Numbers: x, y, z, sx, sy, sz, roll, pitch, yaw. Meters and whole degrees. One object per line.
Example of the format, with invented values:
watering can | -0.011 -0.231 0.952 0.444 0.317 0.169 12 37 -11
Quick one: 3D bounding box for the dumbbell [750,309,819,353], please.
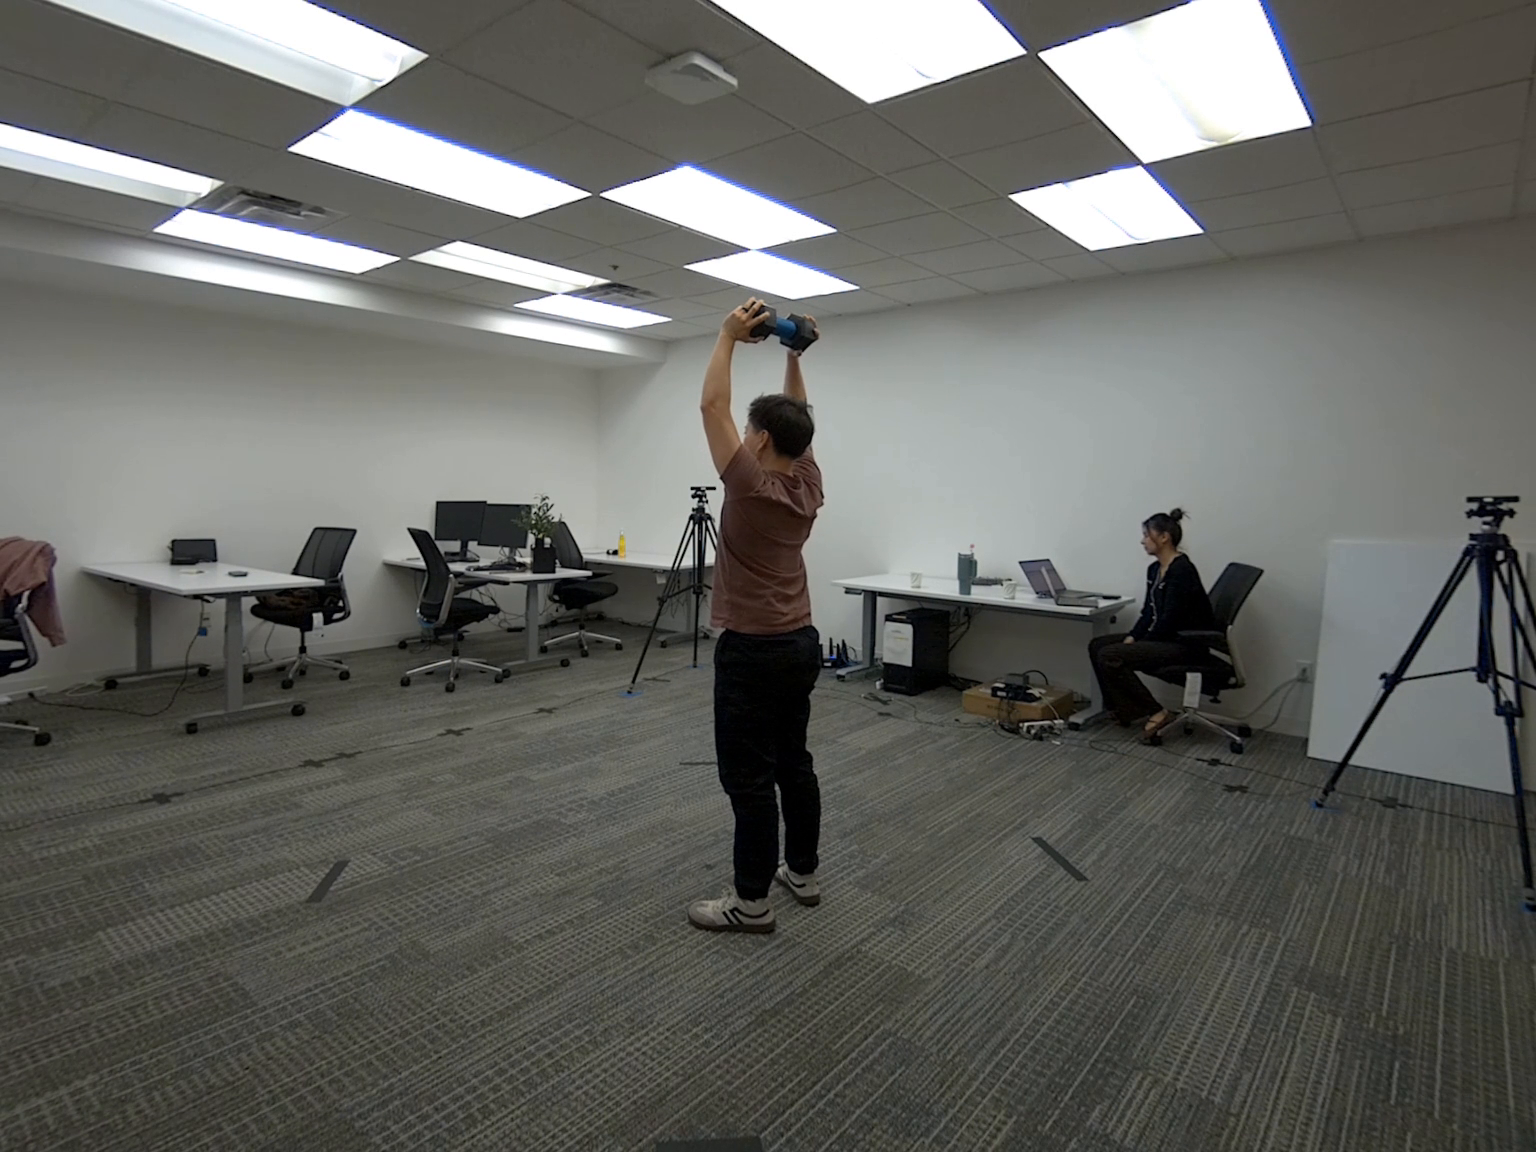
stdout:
dumbbell | 0.022 -0.815 2.763 0.123 0.112 0.284 -40 -24 33
